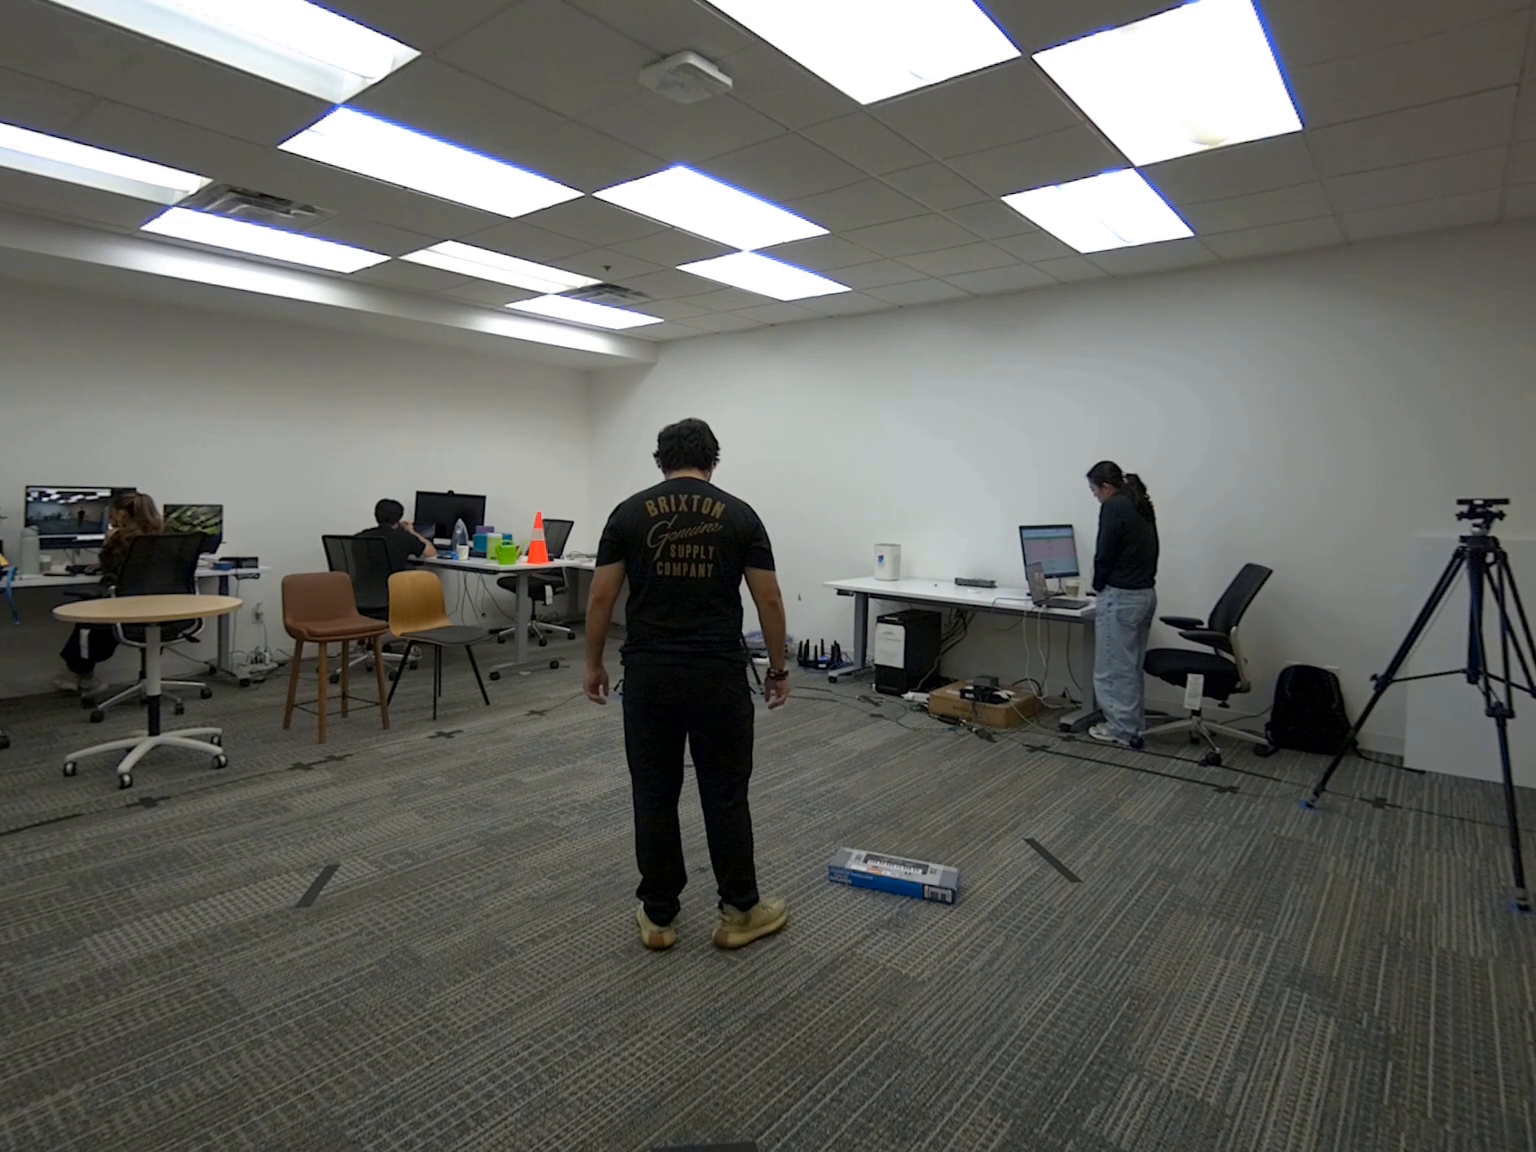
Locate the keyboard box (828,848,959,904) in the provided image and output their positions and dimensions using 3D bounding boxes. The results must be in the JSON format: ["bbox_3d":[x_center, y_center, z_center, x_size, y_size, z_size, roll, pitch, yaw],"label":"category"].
[{"bbox_3d":[0.445,1.061,3.035,0.447,0.059,0.173,3,6,21],"label":"keyboard box"}]
